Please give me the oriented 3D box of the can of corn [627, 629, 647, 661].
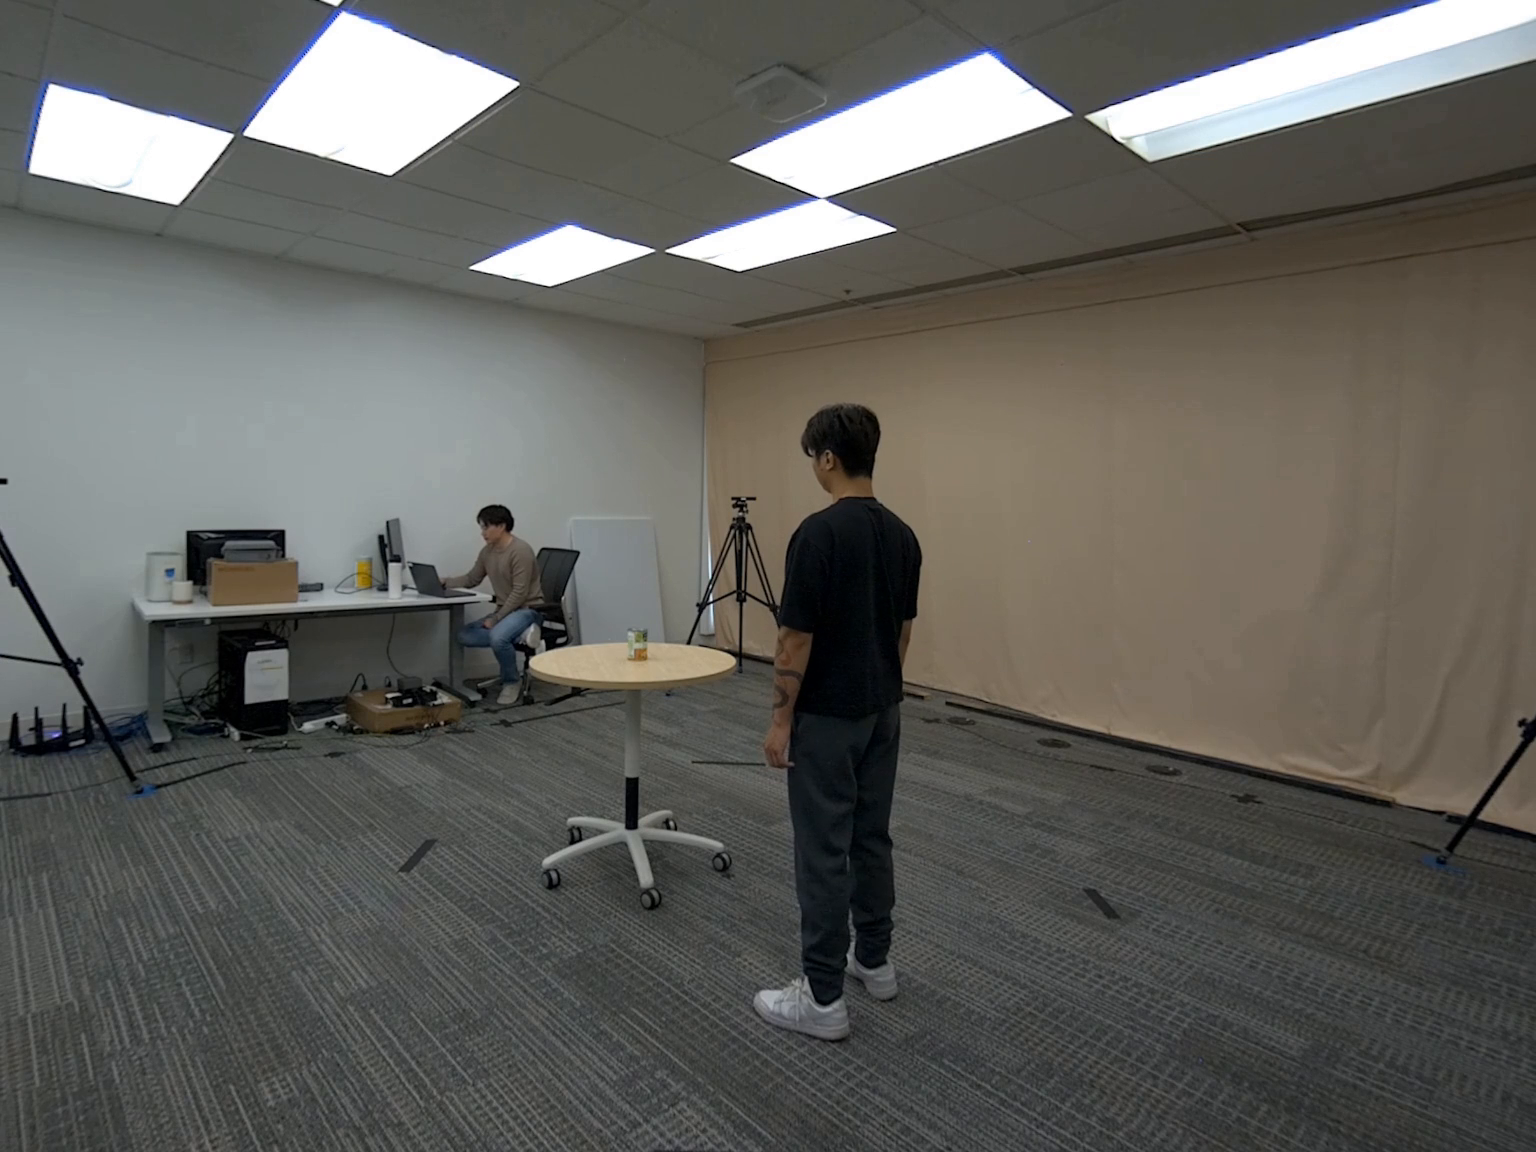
[{"bbox_3d":[-0.499,0.260,3.152,0.074,0.111,0.074,1,1,-1],"label":"can of corn"}]
